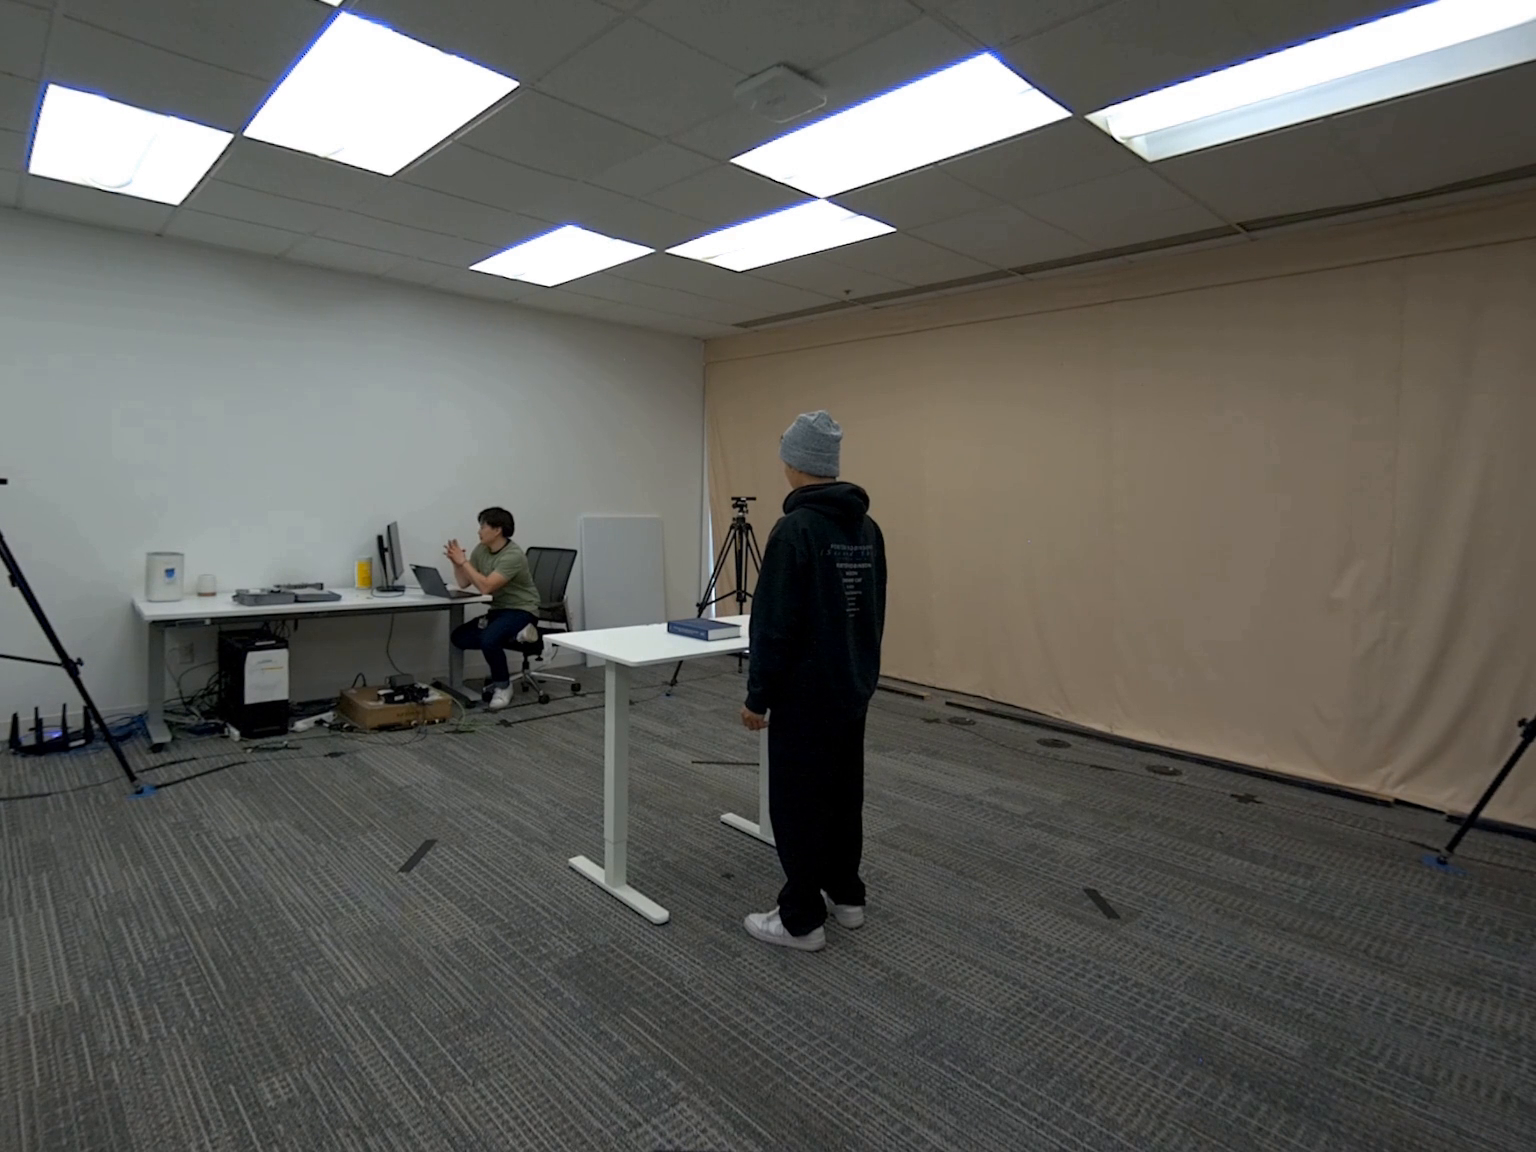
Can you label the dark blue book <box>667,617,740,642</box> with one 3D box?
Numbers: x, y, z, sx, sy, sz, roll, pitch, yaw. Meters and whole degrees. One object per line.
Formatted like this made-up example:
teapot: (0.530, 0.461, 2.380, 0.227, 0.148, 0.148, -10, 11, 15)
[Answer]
dark blue book: (-0.255, 0.201, 3.134, 0.160, 0.045, 0.251, -4, 7, -42)
